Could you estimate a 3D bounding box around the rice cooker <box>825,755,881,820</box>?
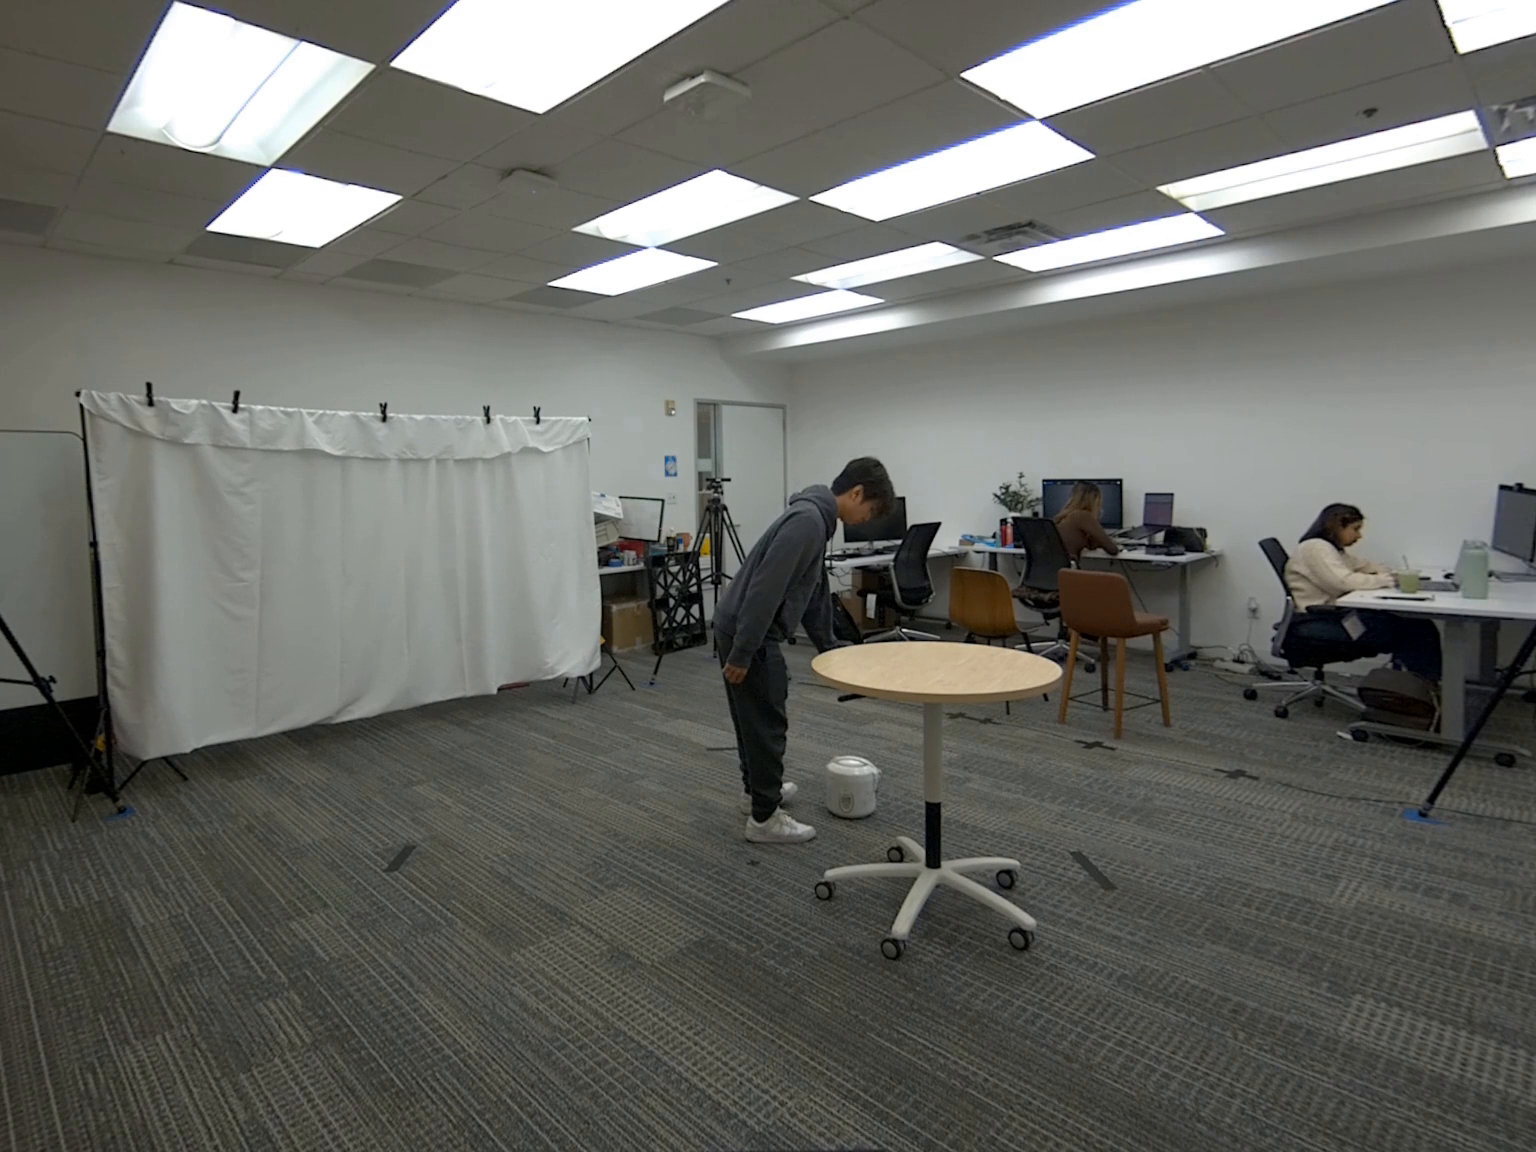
[{"bbox_3d":[0.345,0.861,3.556,0.225,0.232,0.214,1,5,19],"label":"rice cooker"}]
